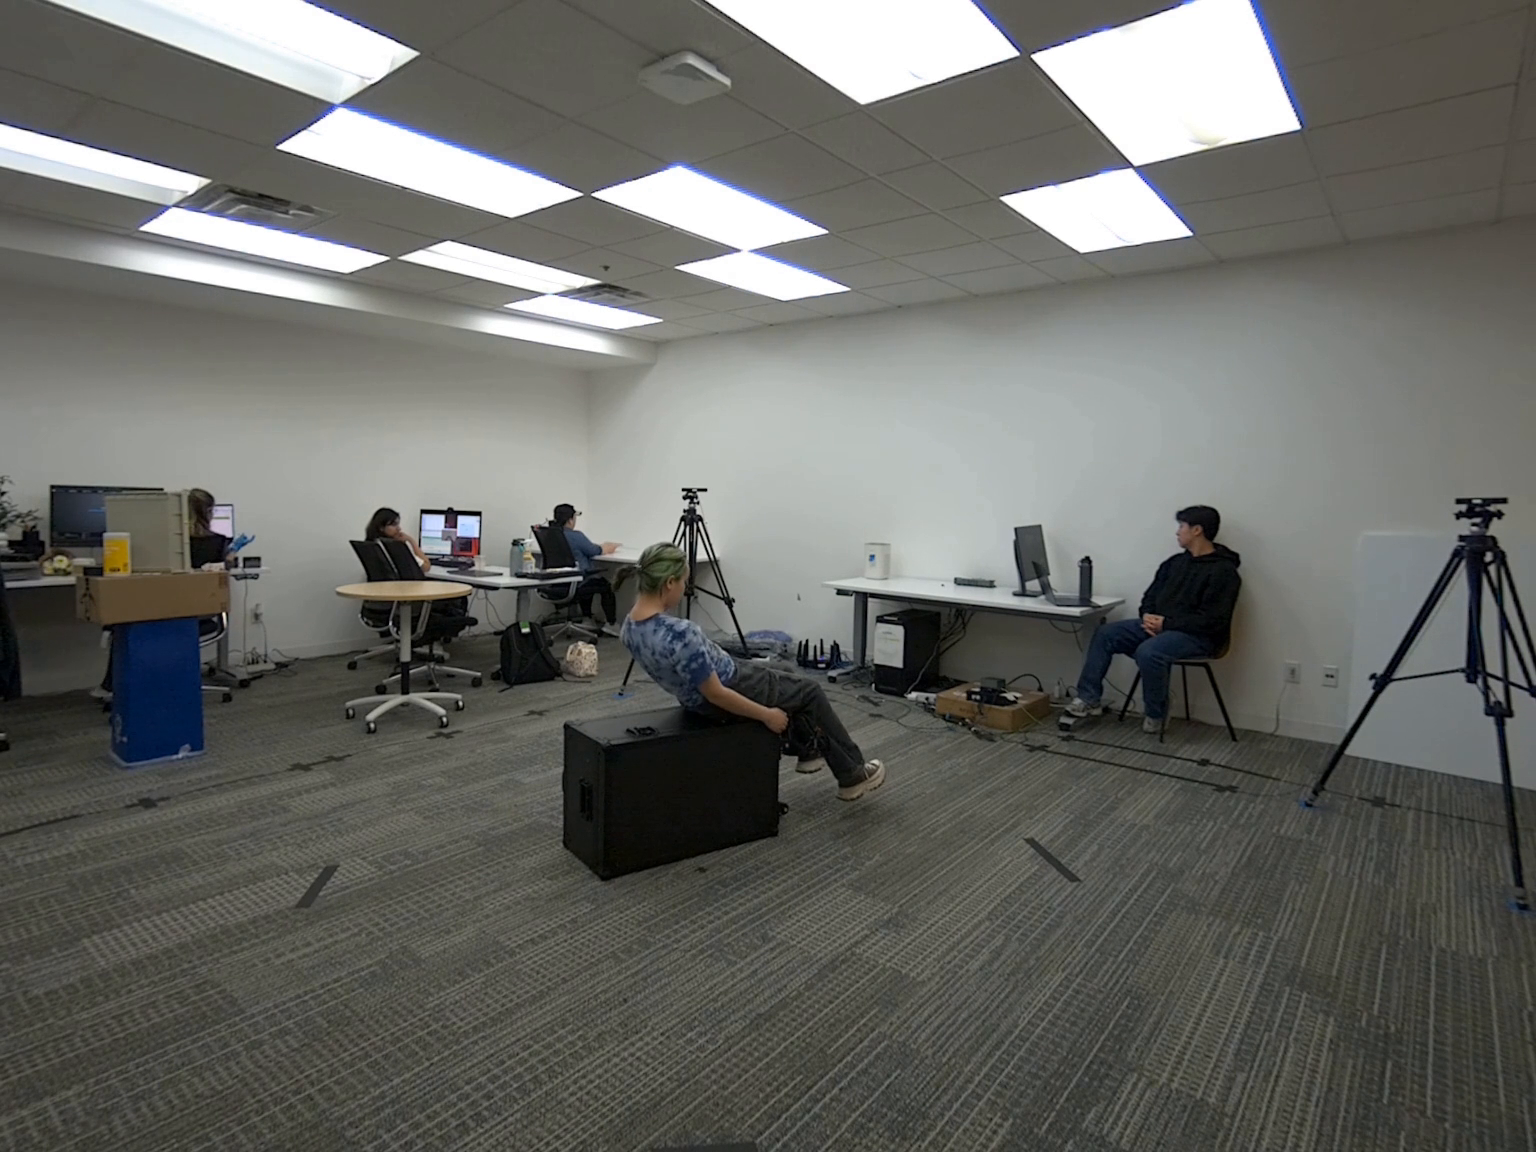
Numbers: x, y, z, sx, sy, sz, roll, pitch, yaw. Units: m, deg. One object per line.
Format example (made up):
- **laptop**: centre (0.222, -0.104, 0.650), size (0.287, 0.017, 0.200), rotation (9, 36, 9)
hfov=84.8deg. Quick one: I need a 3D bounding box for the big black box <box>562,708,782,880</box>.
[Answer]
- **big black box**: centre (-0.364, 0.801, 3.368), size (0.837, 0.520, 0.409), rotation (-1, 4, -34)
